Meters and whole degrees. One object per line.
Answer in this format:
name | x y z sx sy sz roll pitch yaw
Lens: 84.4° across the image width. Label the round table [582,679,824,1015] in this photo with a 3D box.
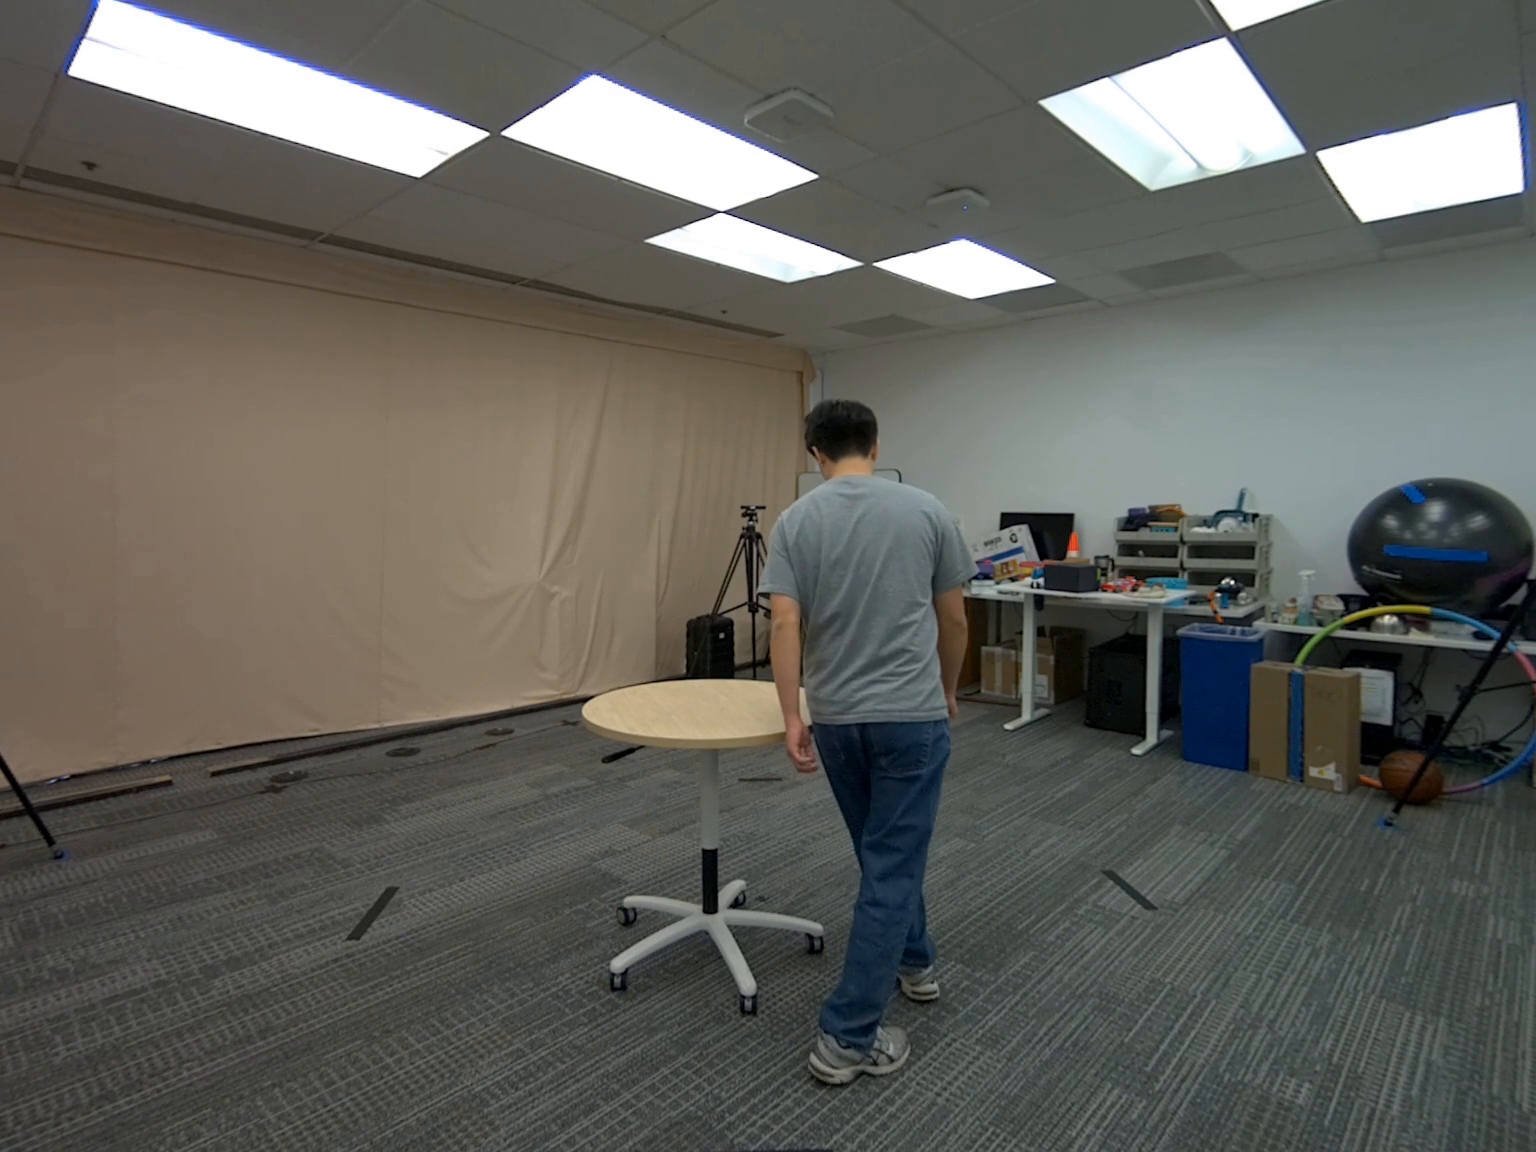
round table | -0.175 0.788 2.592 0.763 0.792 0.766 -1 4 -2
